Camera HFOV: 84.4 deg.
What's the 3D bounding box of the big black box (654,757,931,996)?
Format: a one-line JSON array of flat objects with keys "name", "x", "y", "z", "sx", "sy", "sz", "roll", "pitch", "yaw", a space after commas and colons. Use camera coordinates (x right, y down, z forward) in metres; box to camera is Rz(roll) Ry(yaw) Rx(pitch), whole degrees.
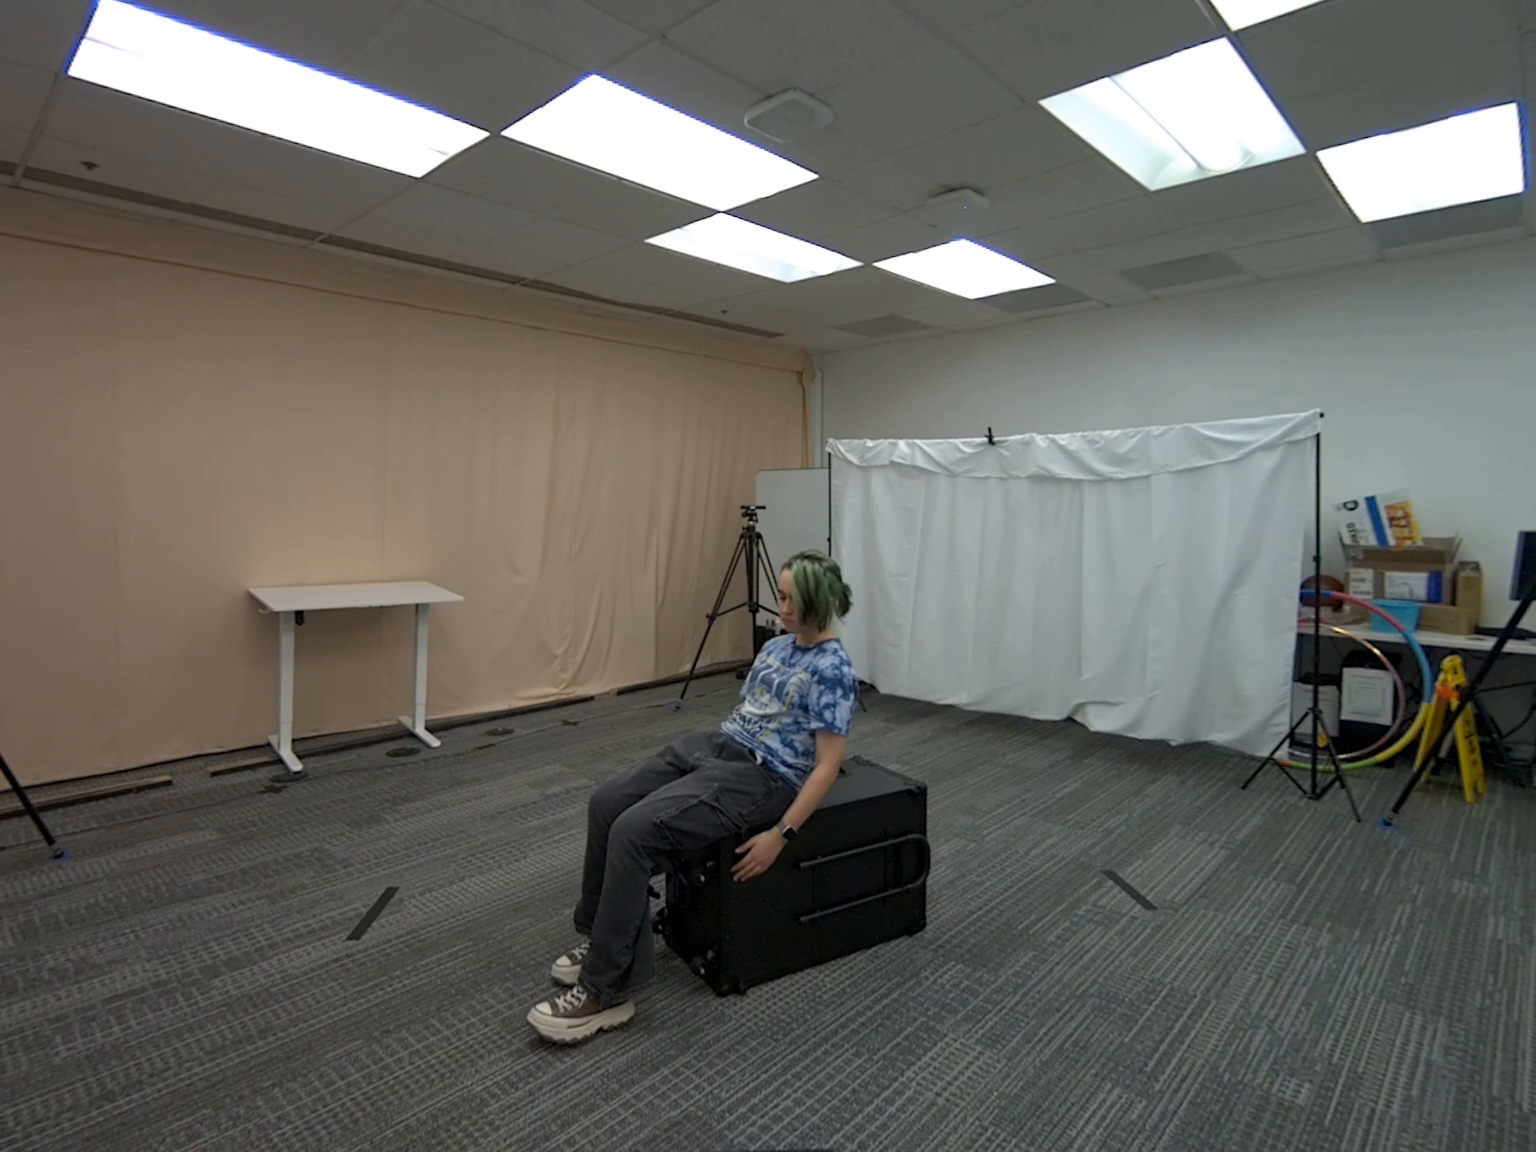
[{"name": "big black box", "x": 0.083, "y": 0.928, "z": 2.686, "sx": 0.839, "sy": 0.520, "sz": 0.408, "roll": -4, "pitch": 4, "yaw": -29}]
